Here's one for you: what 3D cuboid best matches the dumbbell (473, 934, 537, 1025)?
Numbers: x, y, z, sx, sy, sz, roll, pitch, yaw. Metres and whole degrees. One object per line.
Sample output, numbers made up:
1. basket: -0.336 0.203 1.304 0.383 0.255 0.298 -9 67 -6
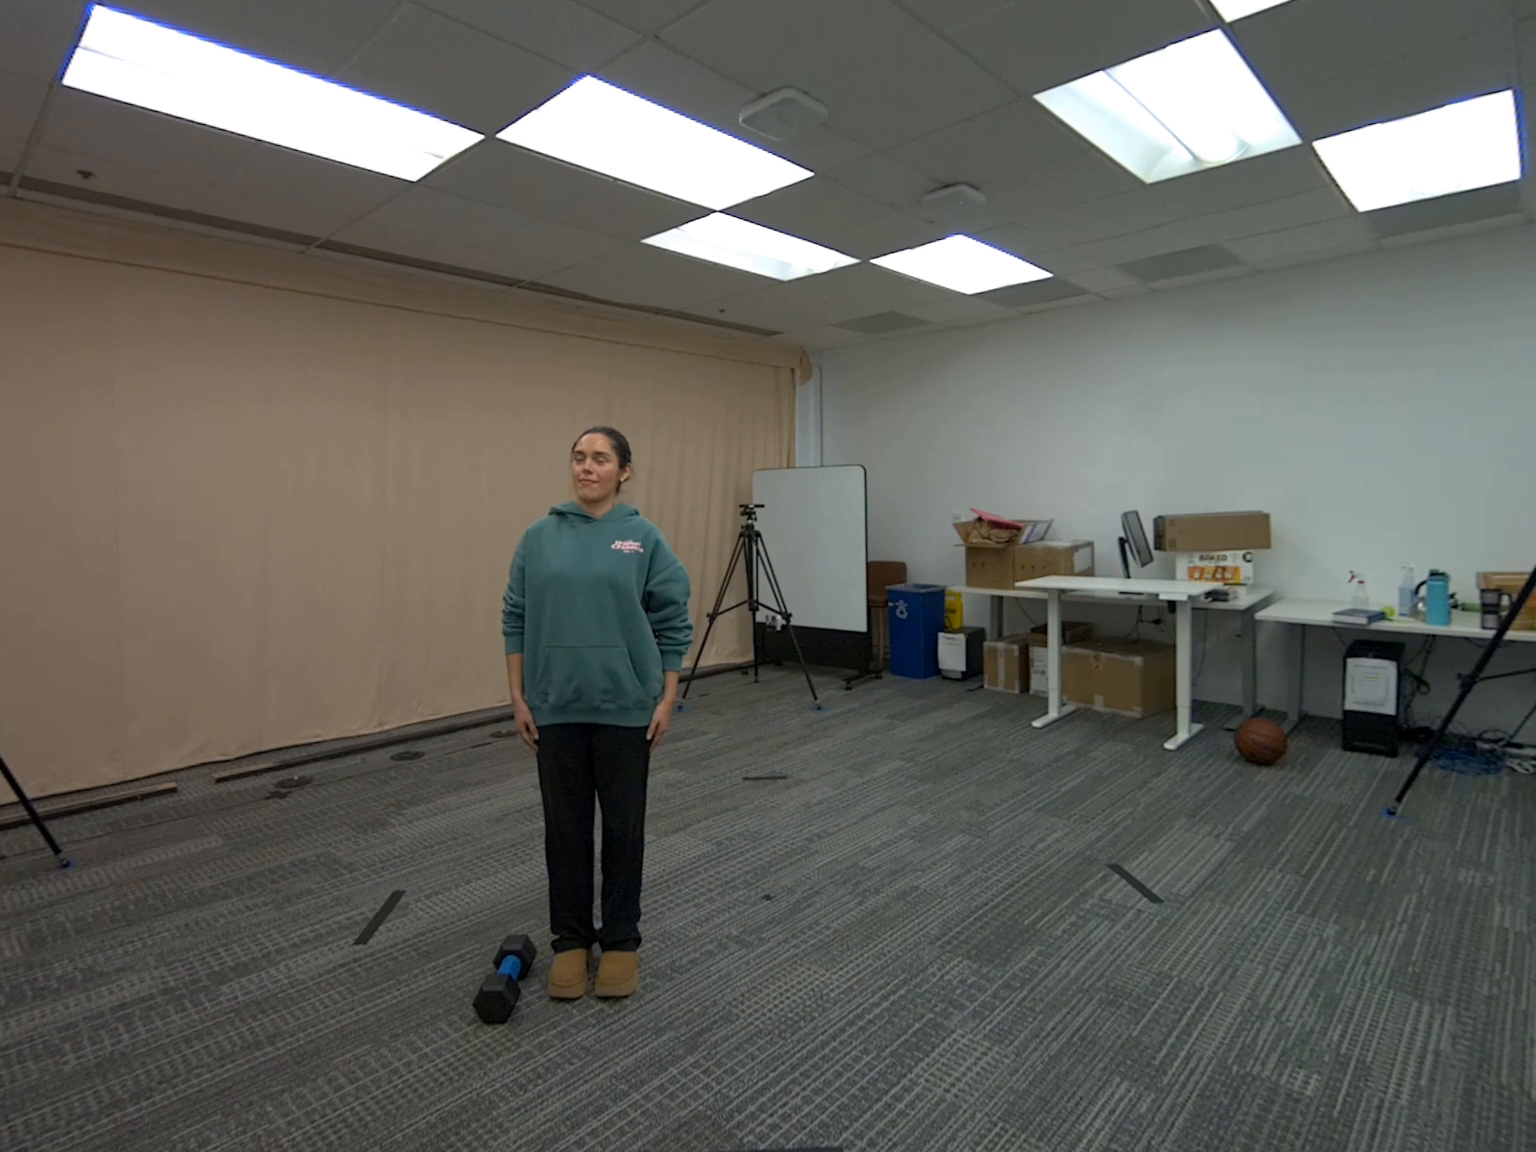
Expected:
1. dumbbell: -0.752 1.155 2.410 0.109 0.122 0.294 -30 5 0
